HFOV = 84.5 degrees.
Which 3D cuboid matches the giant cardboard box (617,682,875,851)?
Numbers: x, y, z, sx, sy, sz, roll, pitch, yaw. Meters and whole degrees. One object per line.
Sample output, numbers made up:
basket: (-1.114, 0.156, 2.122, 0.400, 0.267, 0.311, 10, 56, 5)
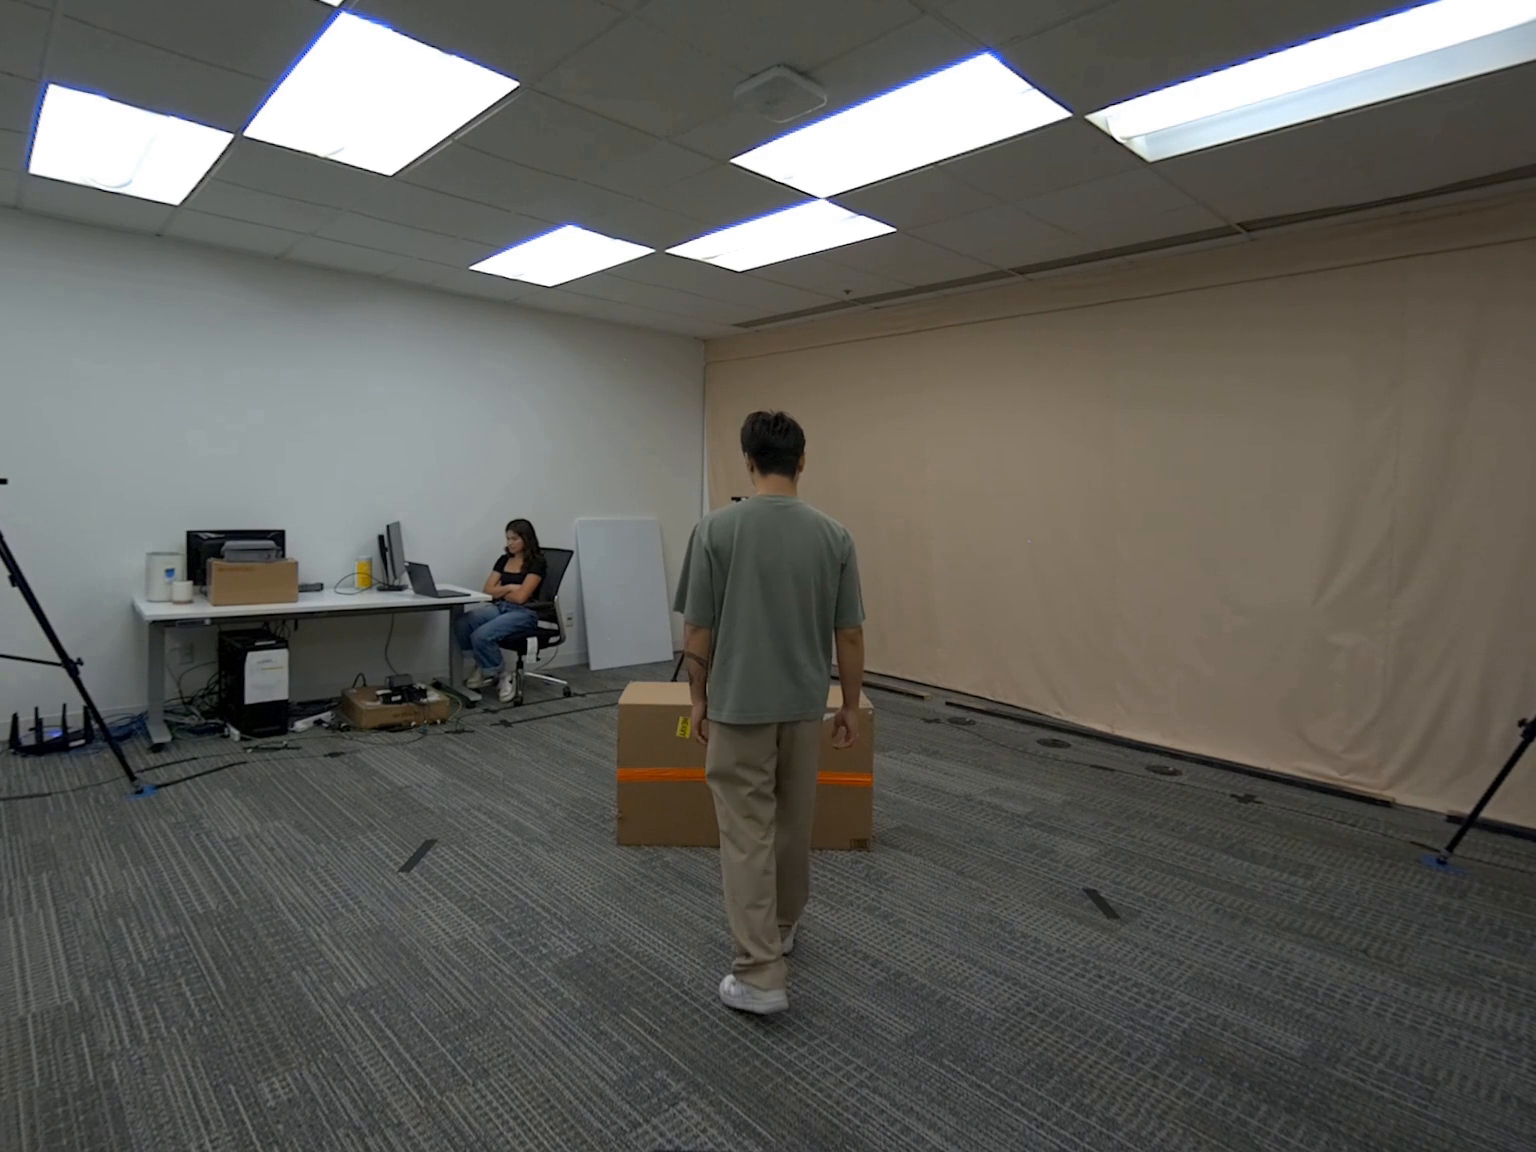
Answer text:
giant cardboard box: (-0.107, 0.779, 3.548, 1.025, 0.576, 0.427, 1, 3, -1)
